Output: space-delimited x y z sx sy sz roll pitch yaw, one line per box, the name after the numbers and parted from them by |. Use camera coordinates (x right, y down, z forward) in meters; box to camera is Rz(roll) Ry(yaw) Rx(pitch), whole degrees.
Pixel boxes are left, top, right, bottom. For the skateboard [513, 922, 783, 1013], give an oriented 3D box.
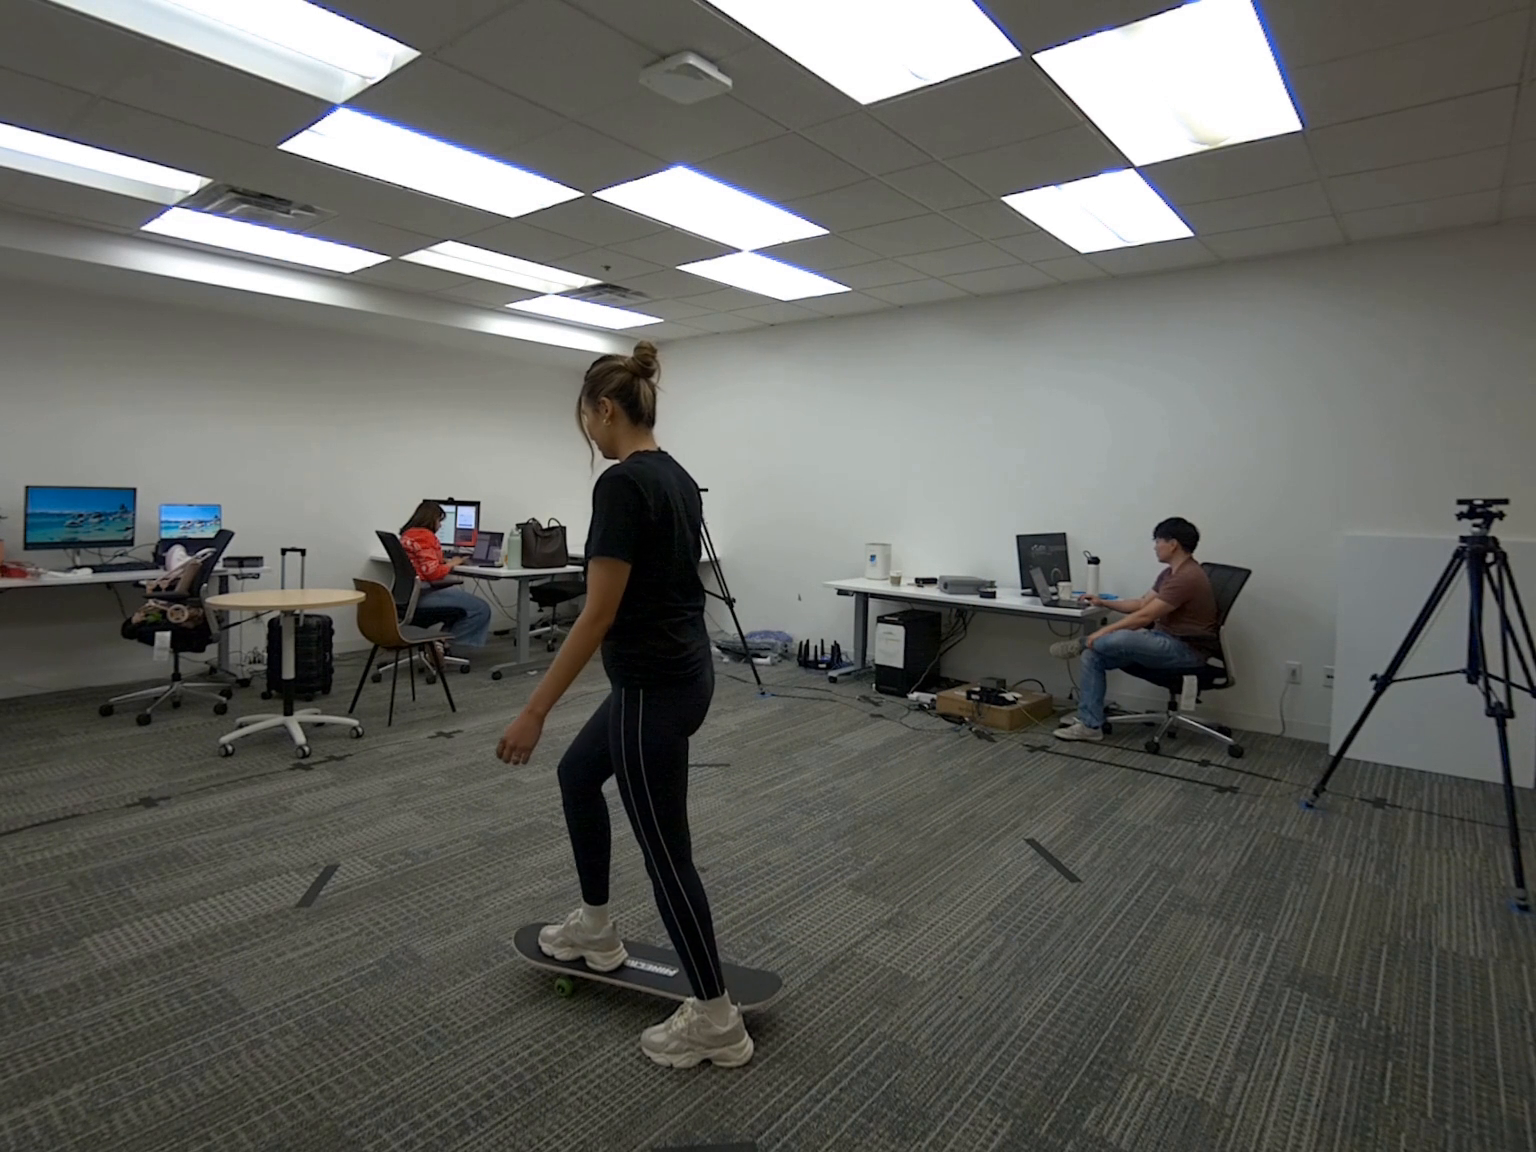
-0.340 1.087 2.318 0.801 0.110 0.190 3 6 18 | skateboard
